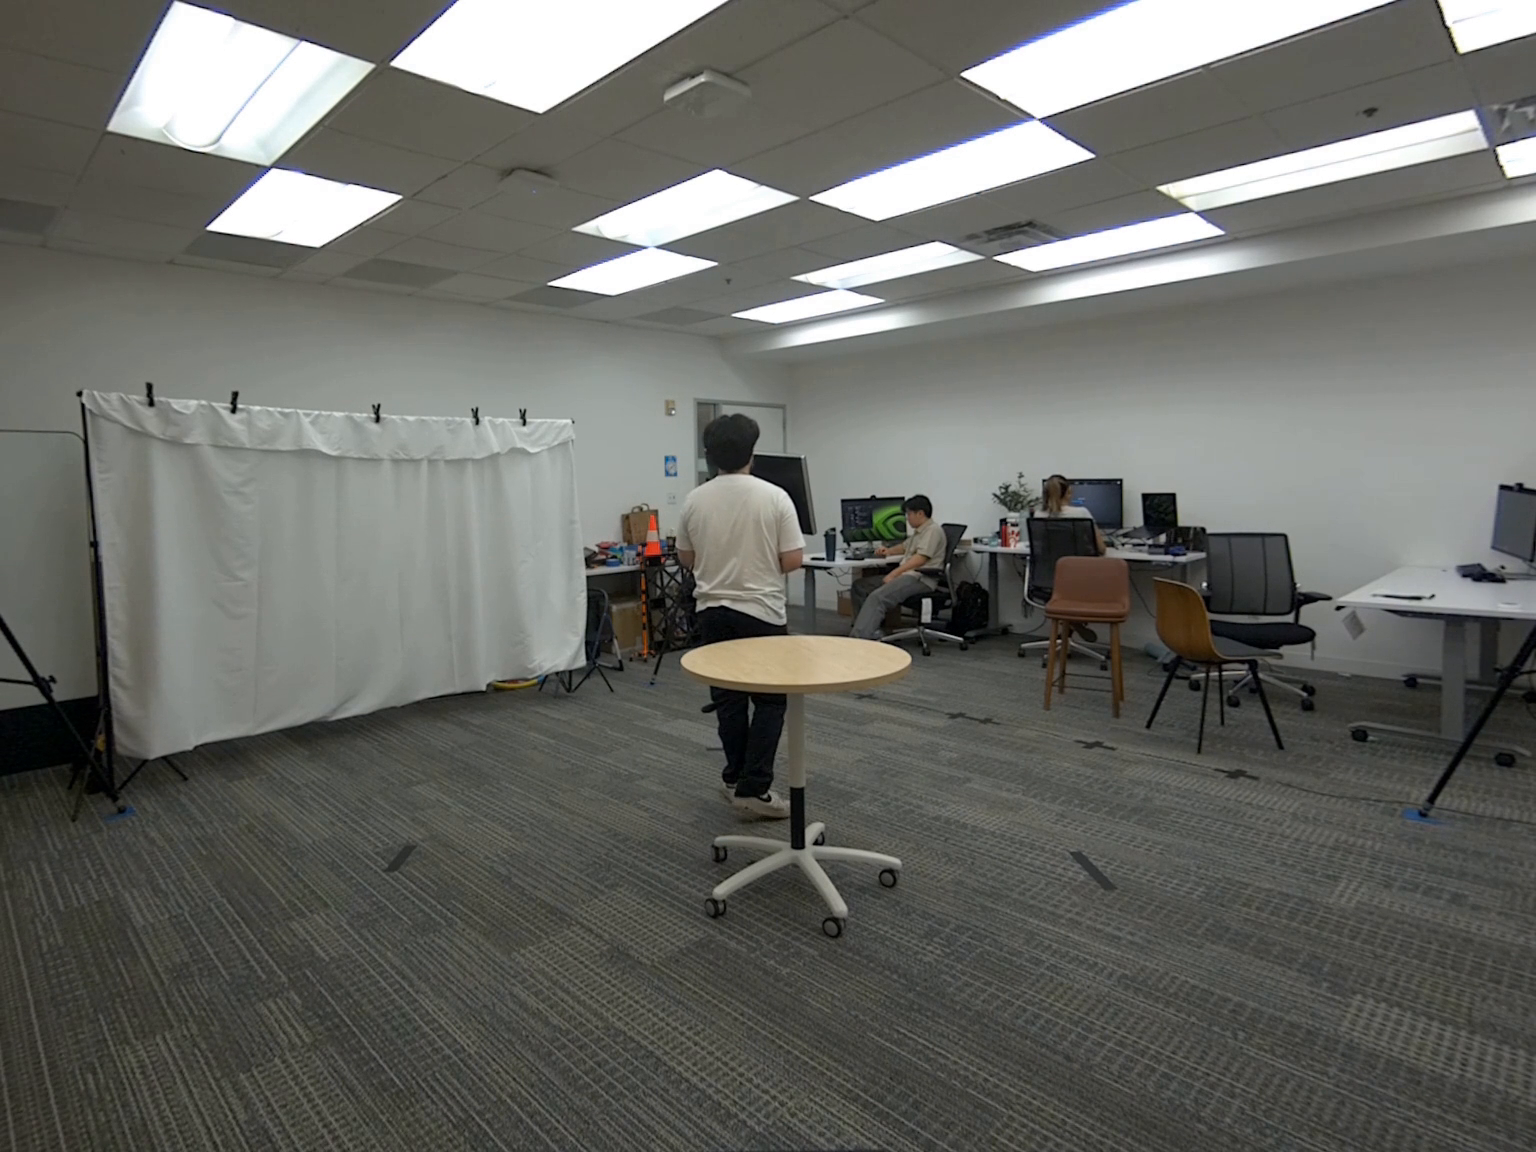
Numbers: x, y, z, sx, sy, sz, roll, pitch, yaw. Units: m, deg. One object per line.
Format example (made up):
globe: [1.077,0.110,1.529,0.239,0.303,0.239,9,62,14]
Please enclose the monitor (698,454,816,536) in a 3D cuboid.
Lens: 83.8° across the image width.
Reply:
monitor: [-0.073,-0.274,3.803,0.584,0.544,0.207,12,25,41]
